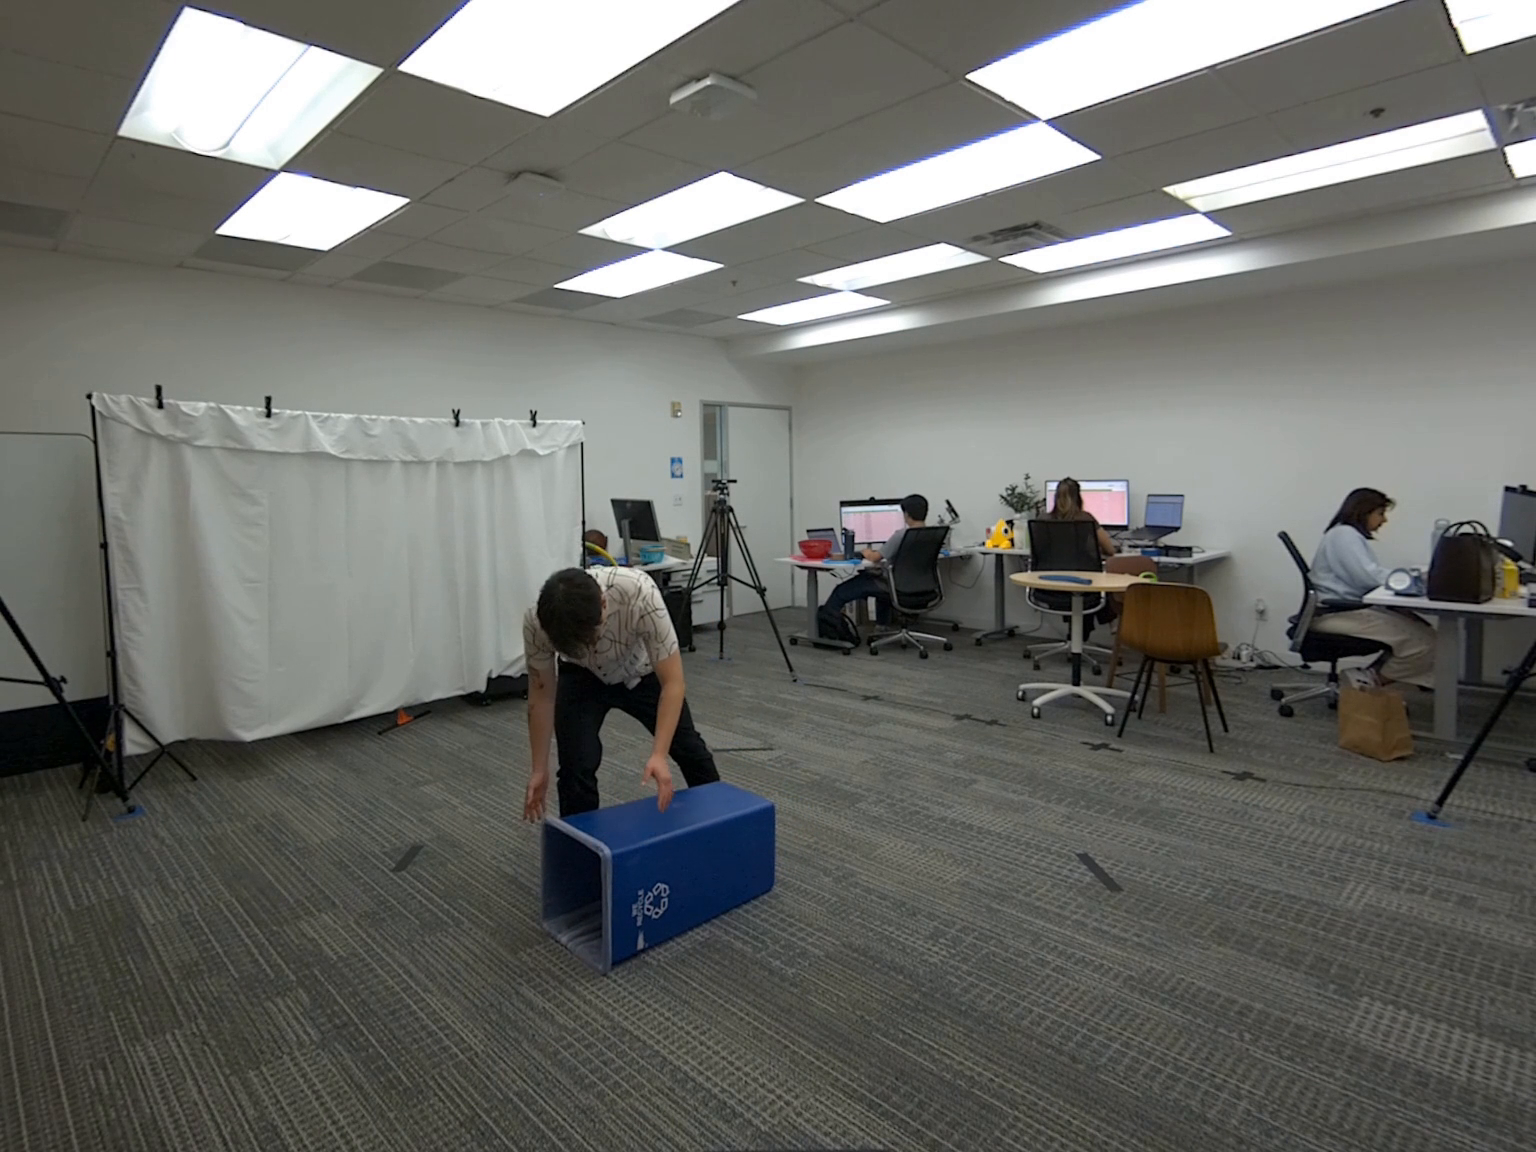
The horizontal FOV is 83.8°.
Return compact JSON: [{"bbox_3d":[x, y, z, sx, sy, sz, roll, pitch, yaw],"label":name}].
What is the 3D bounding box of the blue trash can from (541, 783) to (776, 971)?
[{"bbox_3d":[-0.327,0.920,2.776,0.694,0.377,0.385,-4,5,-42],"label":"blue trash can"}]
